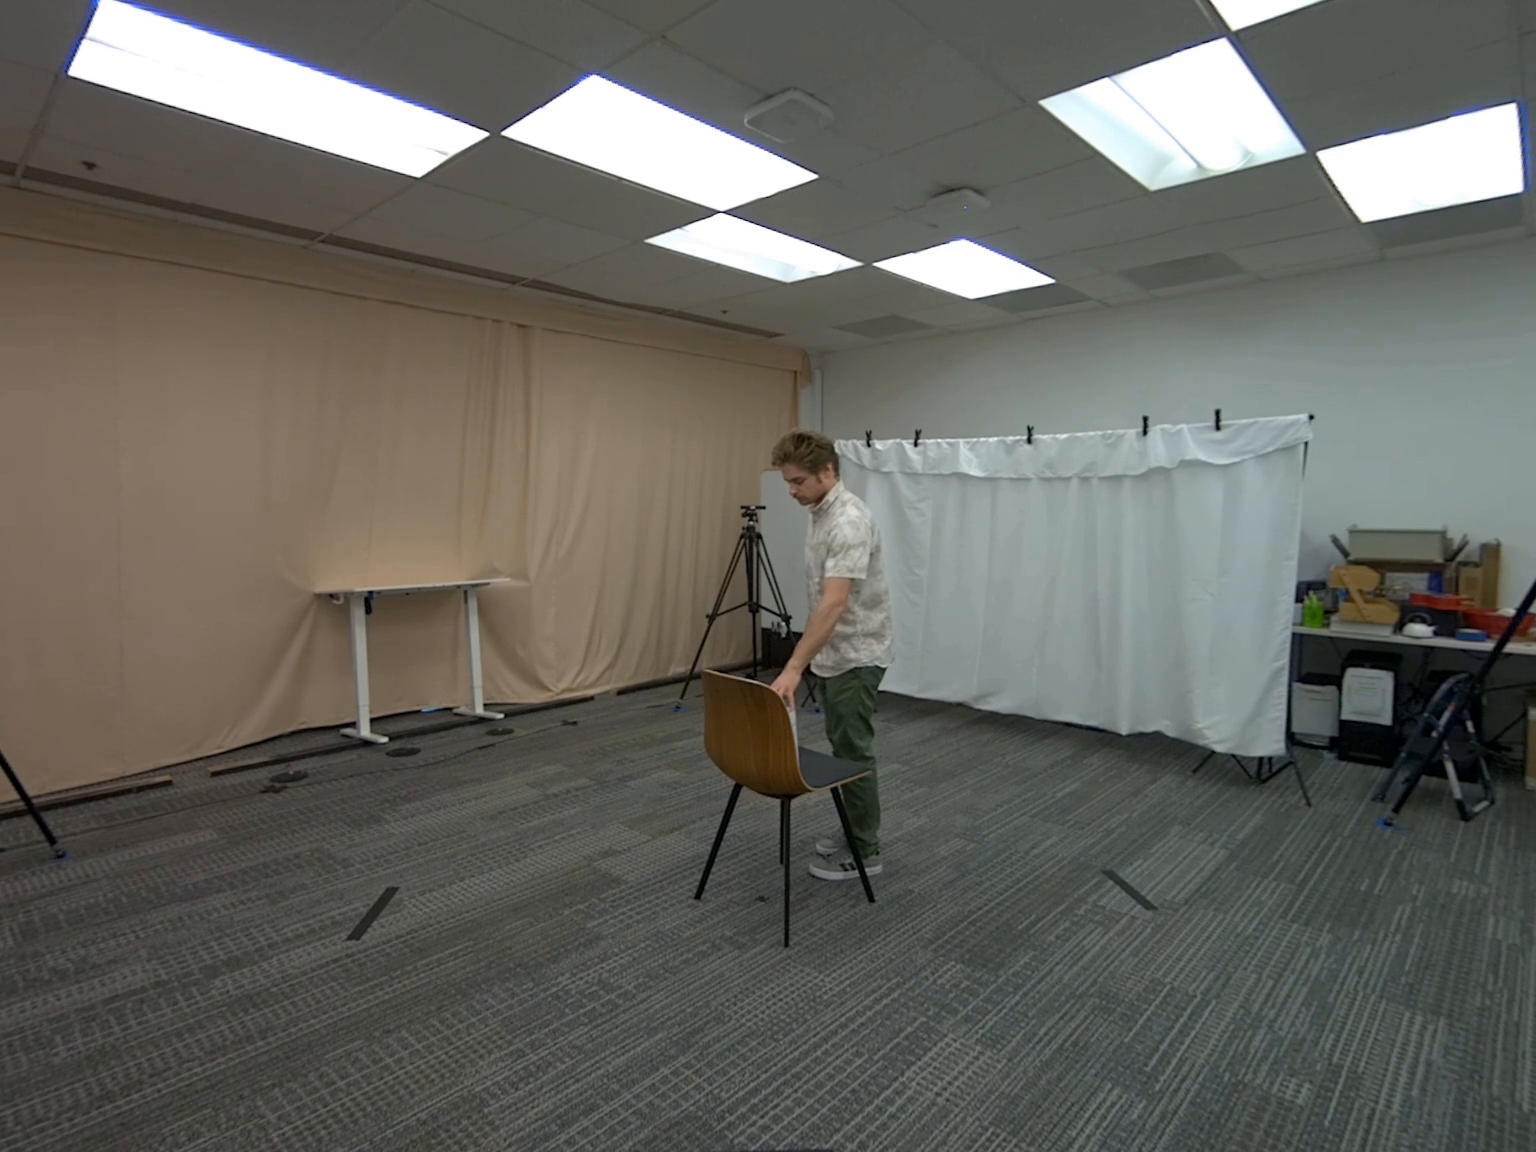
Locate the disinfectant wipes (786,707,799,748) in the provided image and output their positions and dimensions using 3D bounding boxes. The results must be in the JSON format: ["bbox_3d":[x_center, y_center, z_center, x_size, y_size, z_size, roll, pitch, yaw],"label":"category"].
[{"bbox_3d":[0.054,0.573,2.899,0.118,0.217,0.118,-3,3,-2],"label":"disinfectant wipes"}]
